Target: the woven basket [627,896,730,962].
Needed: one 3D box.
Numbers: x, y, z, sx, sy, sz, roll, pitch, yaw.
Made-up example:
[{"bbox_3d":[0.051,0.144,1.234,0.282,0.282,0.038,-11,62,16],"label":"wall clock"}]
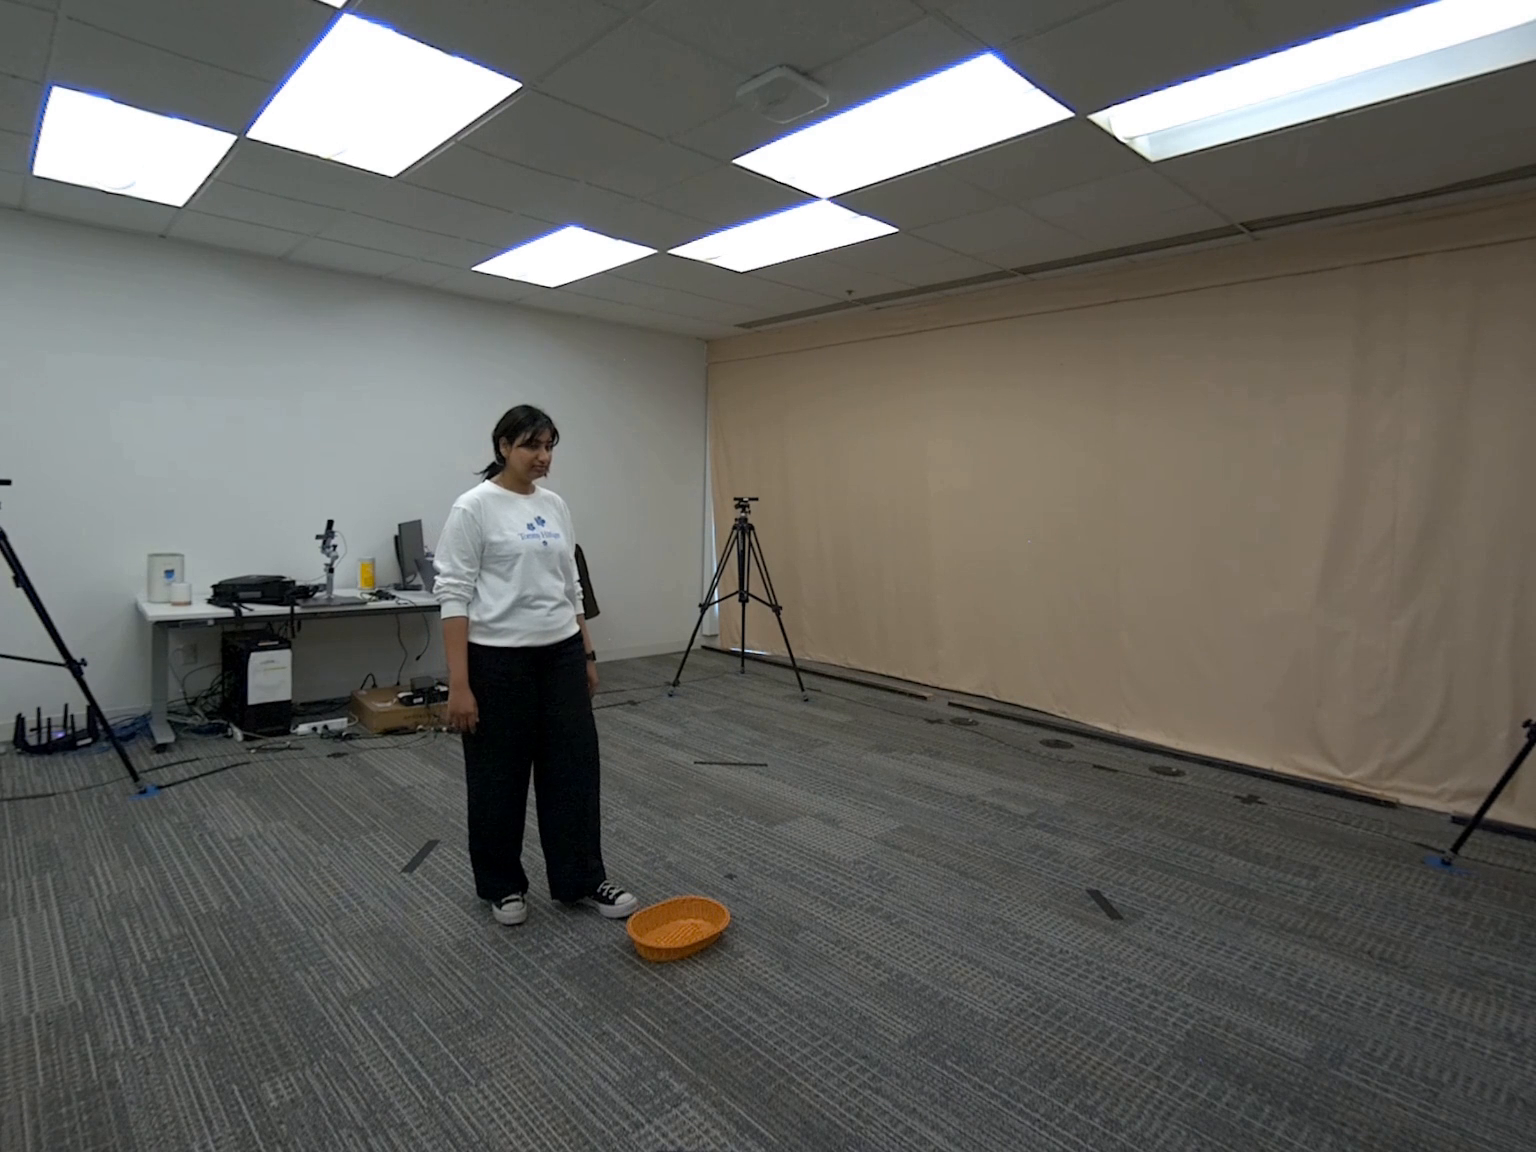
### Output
[{"bbox_3d":[-0.287,1.108,2.631,0.342,0.073,0.259,-3,8,-43],"label":"woven basket"}]
